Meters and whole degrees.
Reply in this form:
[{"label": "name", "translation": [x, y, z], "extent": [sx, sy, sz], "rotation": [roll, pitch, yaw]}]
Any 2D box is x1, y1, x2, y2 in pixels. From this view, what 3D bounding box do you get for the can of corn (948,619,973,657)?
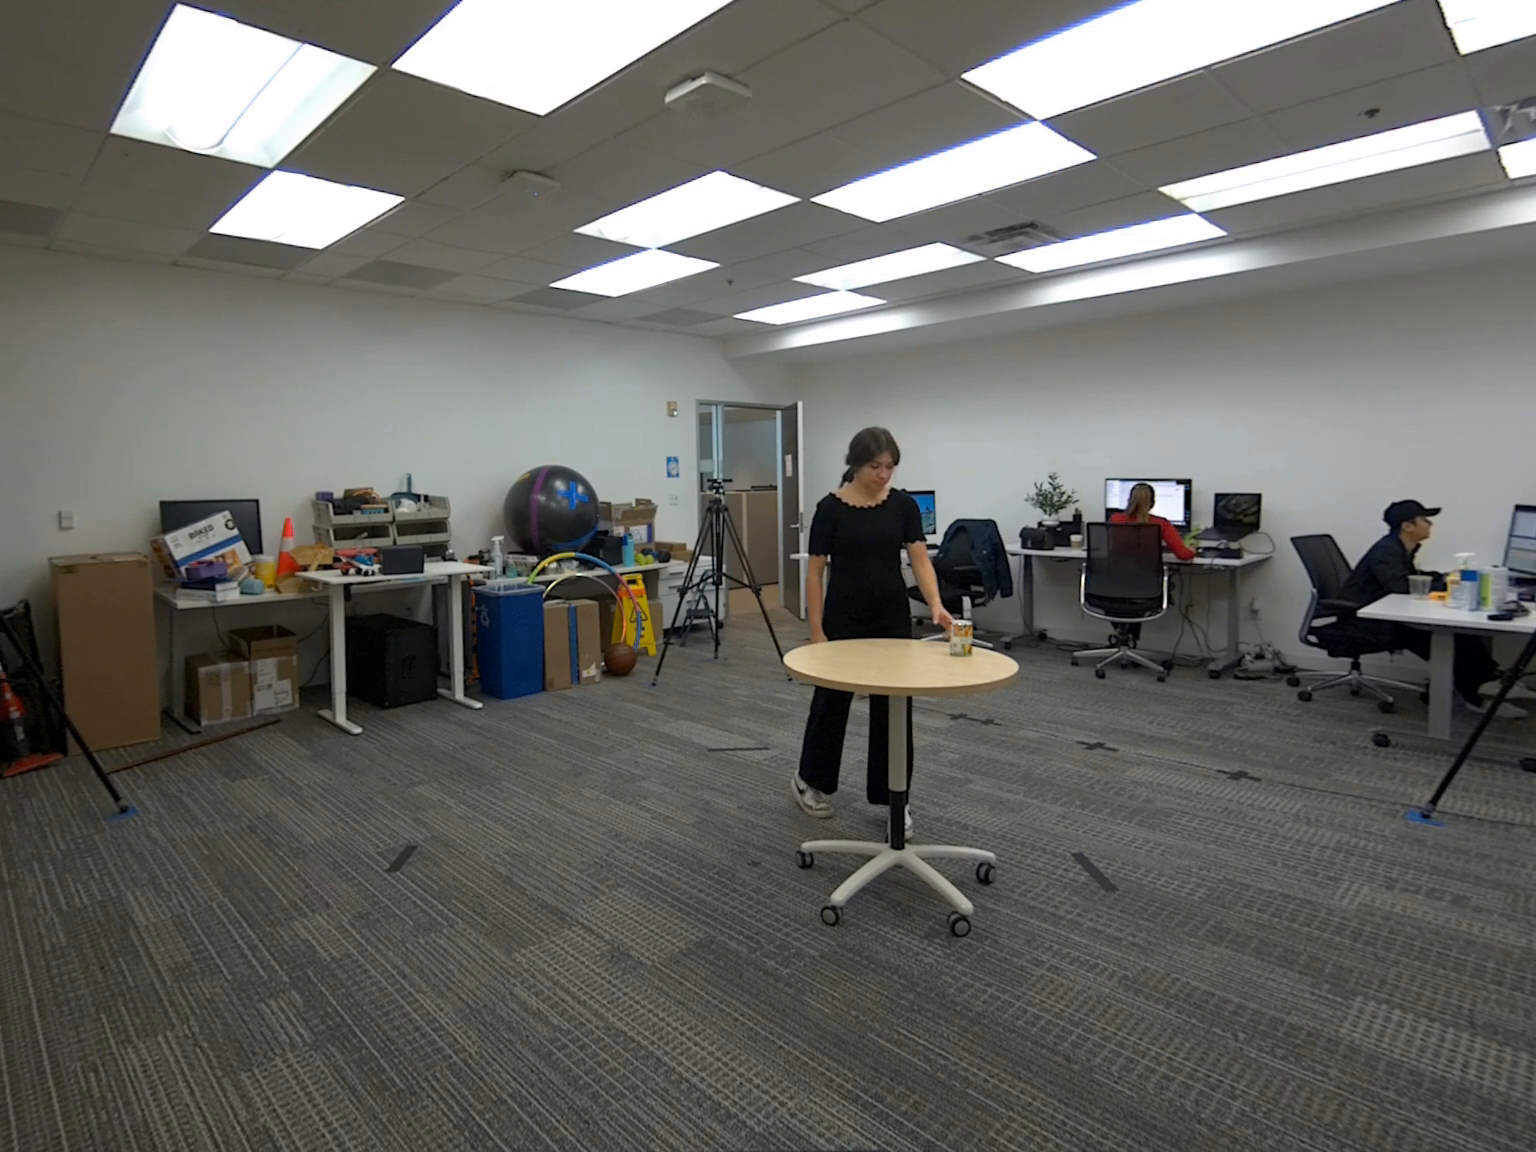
[{"label": "can of corn", "translation": [0.658, 0.216, 2.939], "extent": [0.074, 0.110, 0.074], "rotation": [0, 4, -2]}]
